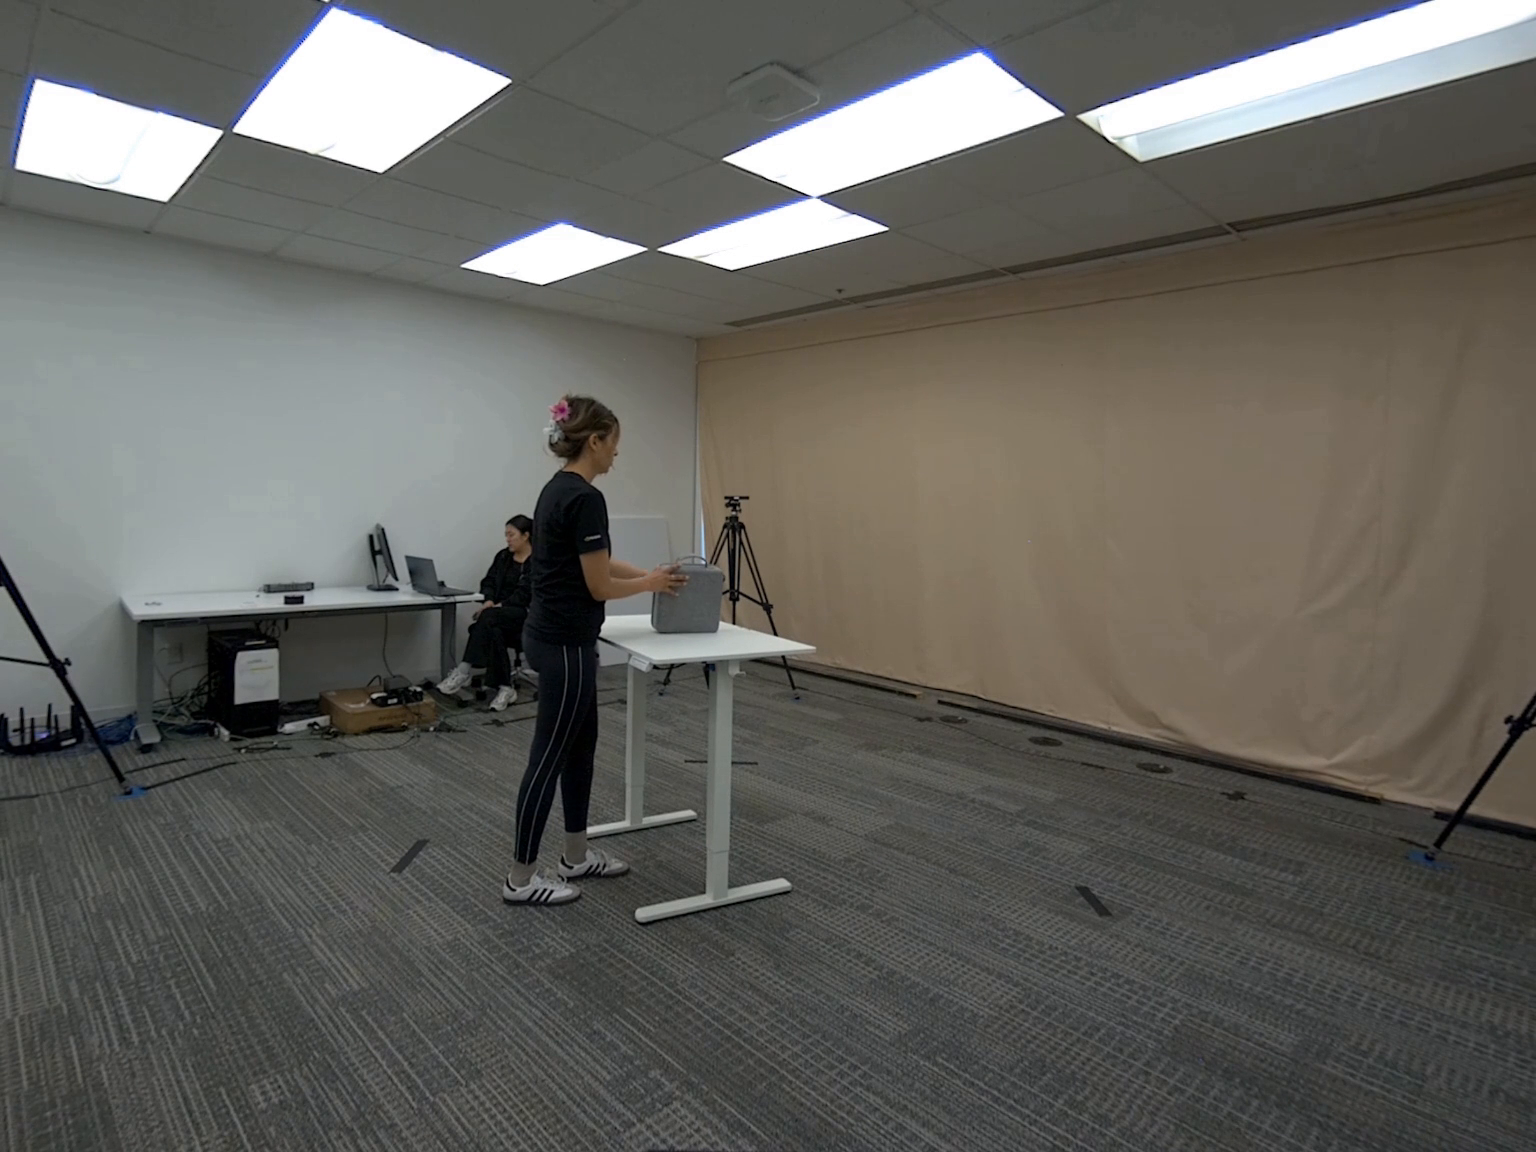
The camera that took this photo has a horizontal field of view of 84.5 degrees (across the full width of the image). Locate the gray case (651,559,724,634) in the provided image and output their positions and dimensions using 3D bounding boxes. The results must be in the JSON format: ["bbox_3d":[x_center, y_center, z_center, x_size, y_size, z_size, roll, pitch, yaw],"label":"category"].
[{"bbox_3d":[-0.307,0.084,3.155,0.254,0.259,0.106,2,8,-14],"label":"gray case"}]
